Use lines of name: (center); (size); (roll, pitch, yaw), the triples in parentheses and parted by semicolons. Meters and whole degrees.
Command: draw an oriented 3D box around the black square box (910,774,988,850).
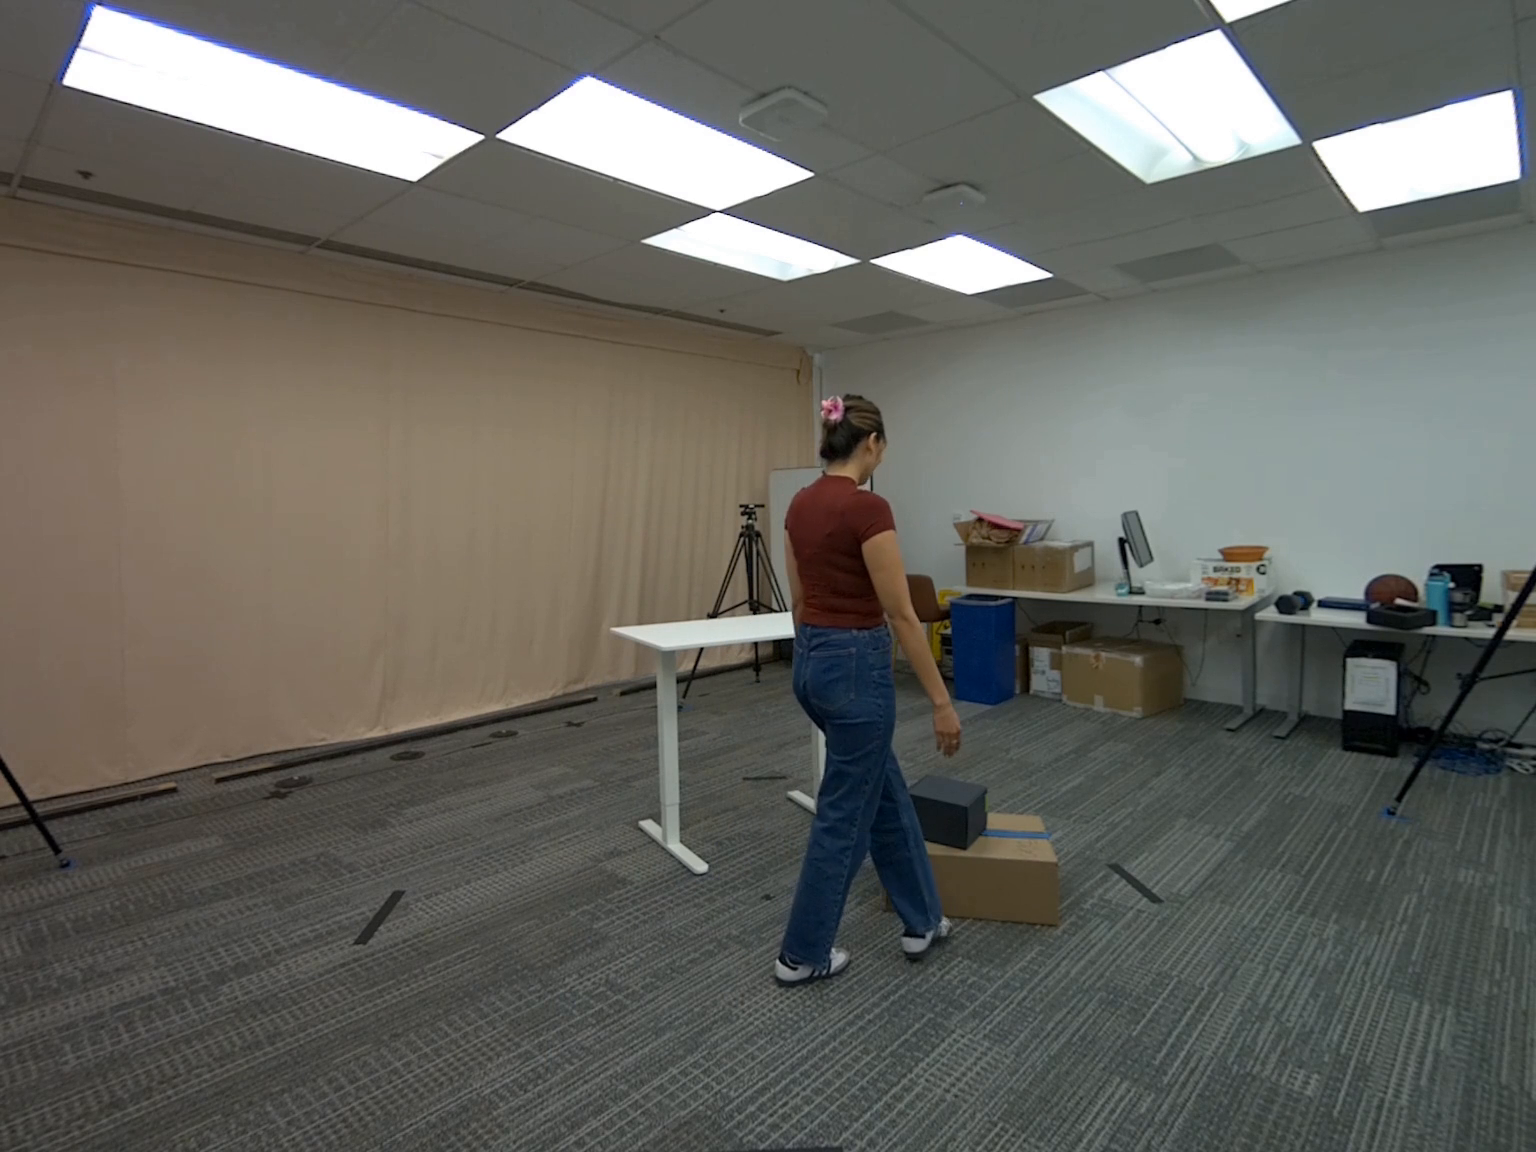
black square box: (0.634, 0.825, 2.971); (0.235, 0.155, 0.211); (3, 7, 33)
